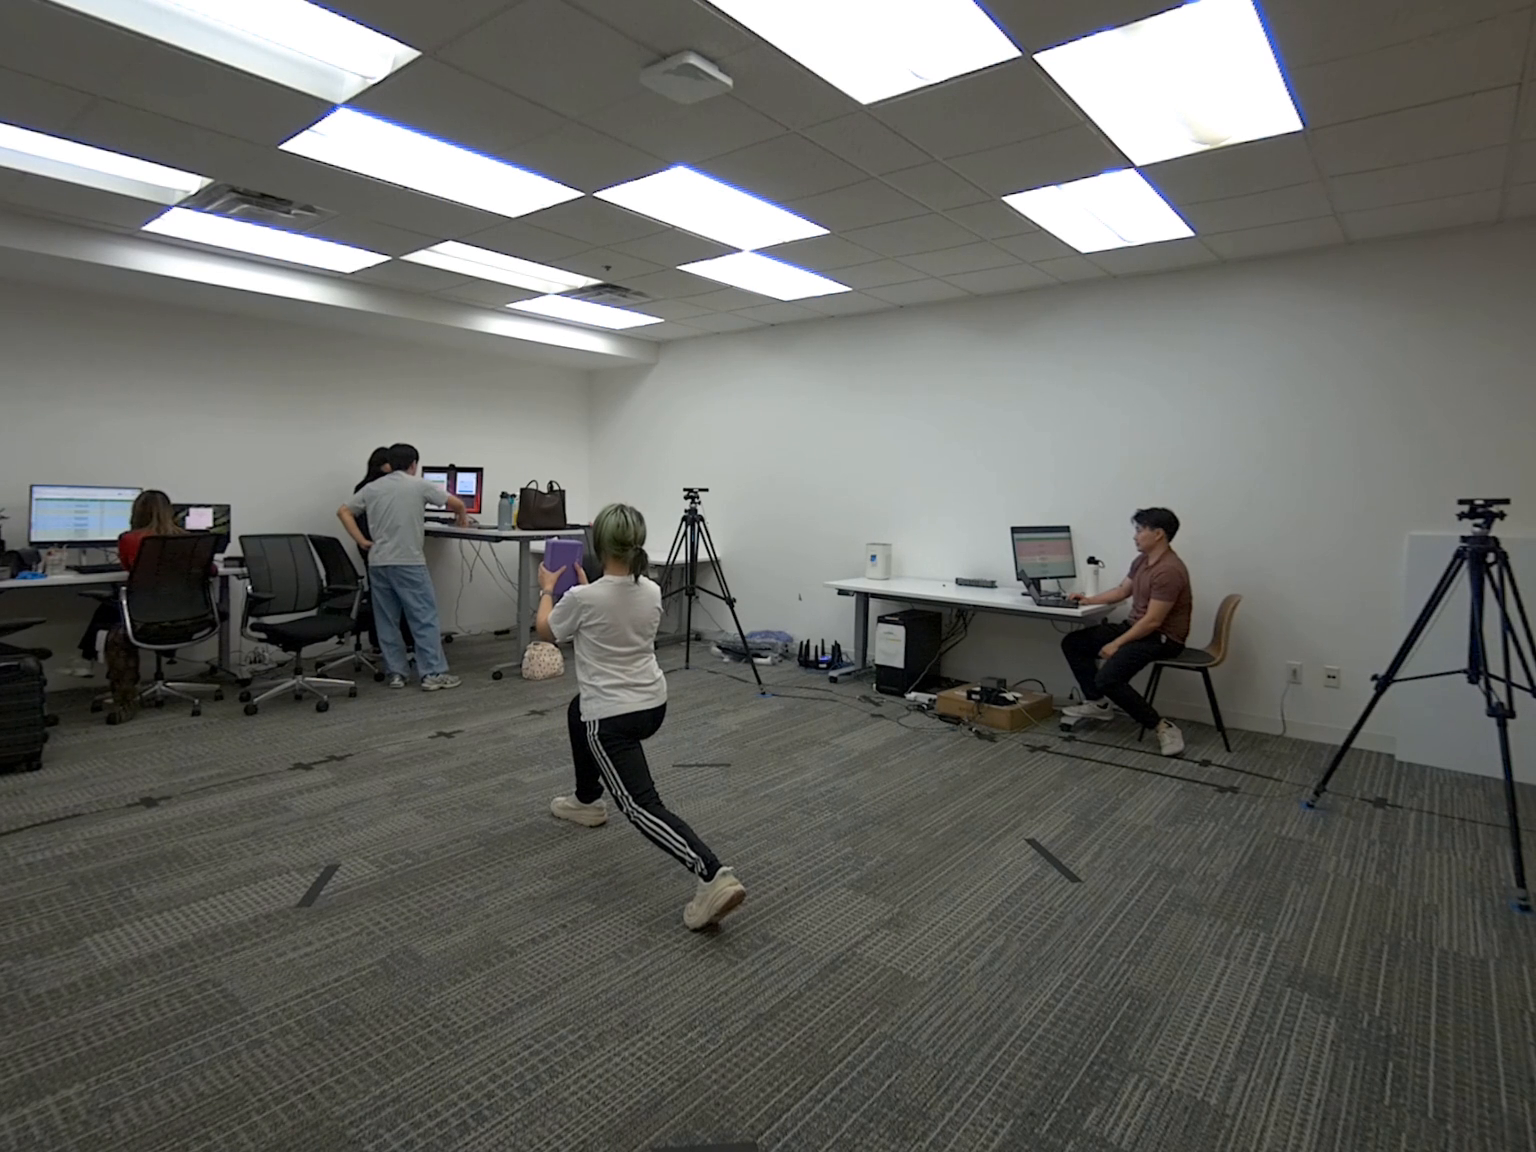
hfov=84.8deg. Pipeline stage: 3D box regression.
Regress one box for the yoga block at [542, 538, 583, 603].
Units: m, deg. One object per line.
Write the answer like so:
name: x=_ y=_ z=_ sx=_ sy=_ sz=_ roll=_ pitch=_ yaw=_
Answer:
yoga block: x=-0.885 y=-0.038 z=3.589 sx=0.144 sy=0.228 sz=0.079 roll=3 pitch=5 yaw=-38
